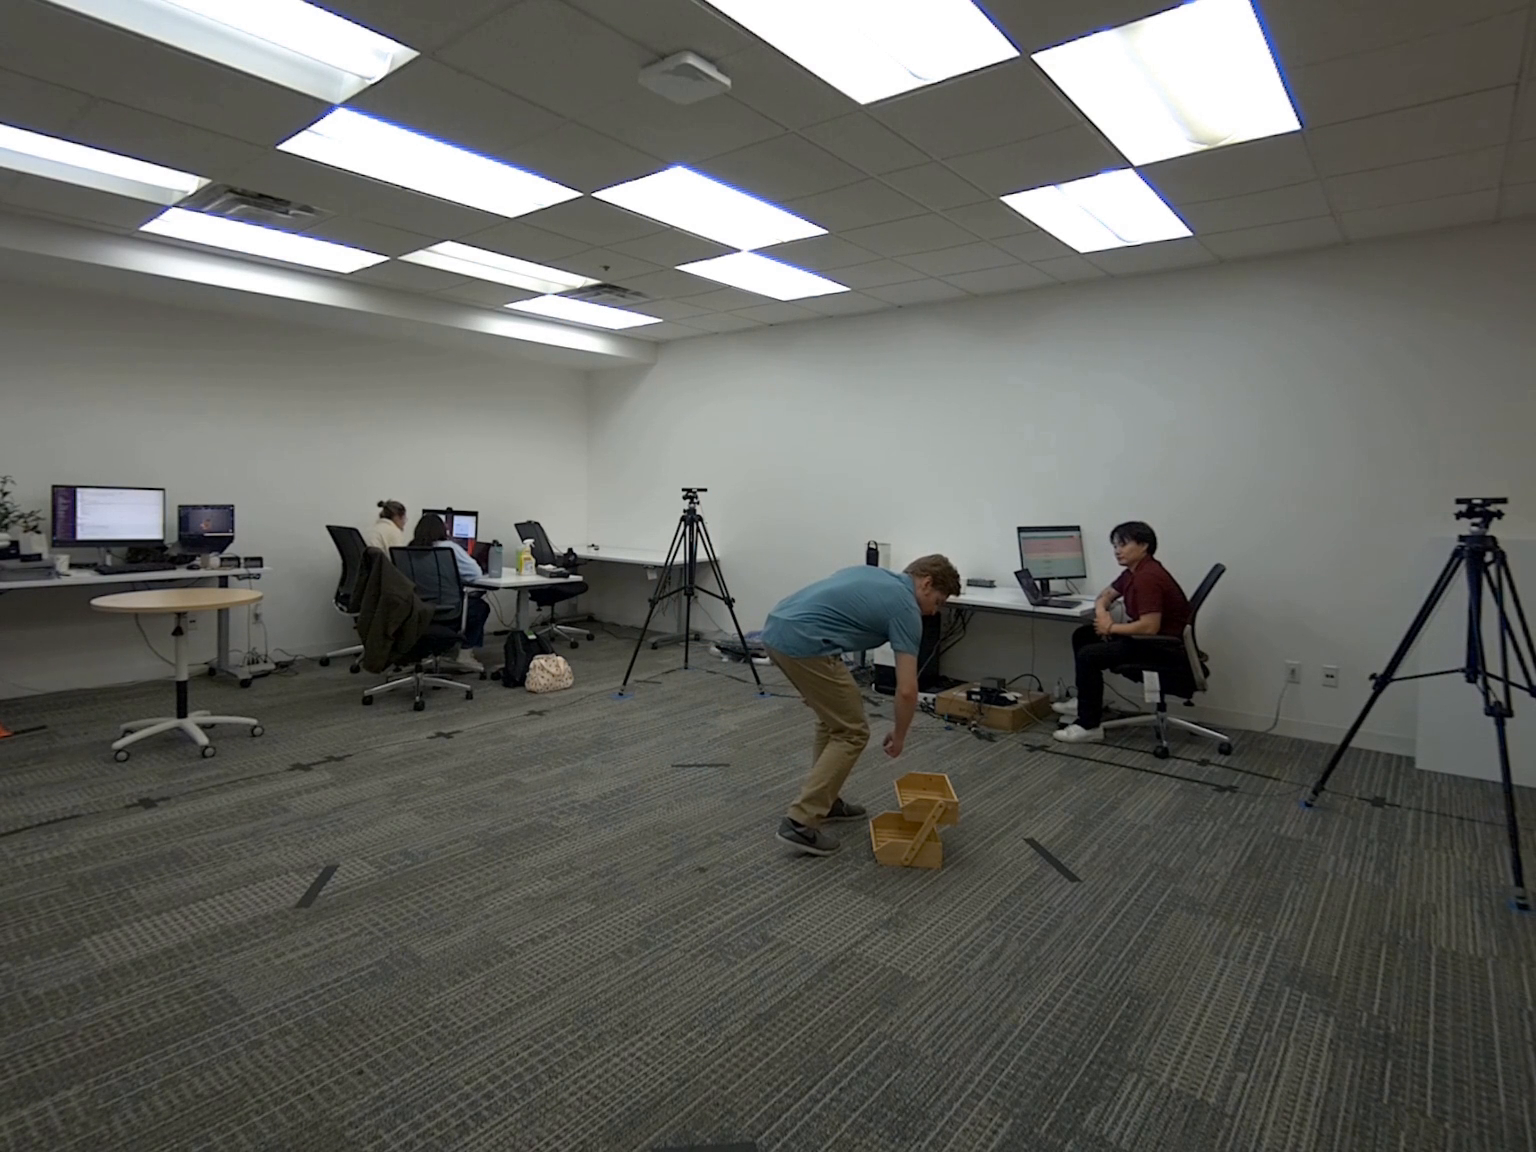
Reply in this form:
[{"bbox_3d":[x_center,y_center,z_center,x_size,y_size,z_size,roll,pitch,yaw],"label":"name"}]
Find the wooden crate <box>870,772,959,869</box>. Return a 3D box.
[{"bbox_3d":[0.544,0.927,3.313,0.304,0.272,0.324,3,5,5],"label":"wooden crate"}]
